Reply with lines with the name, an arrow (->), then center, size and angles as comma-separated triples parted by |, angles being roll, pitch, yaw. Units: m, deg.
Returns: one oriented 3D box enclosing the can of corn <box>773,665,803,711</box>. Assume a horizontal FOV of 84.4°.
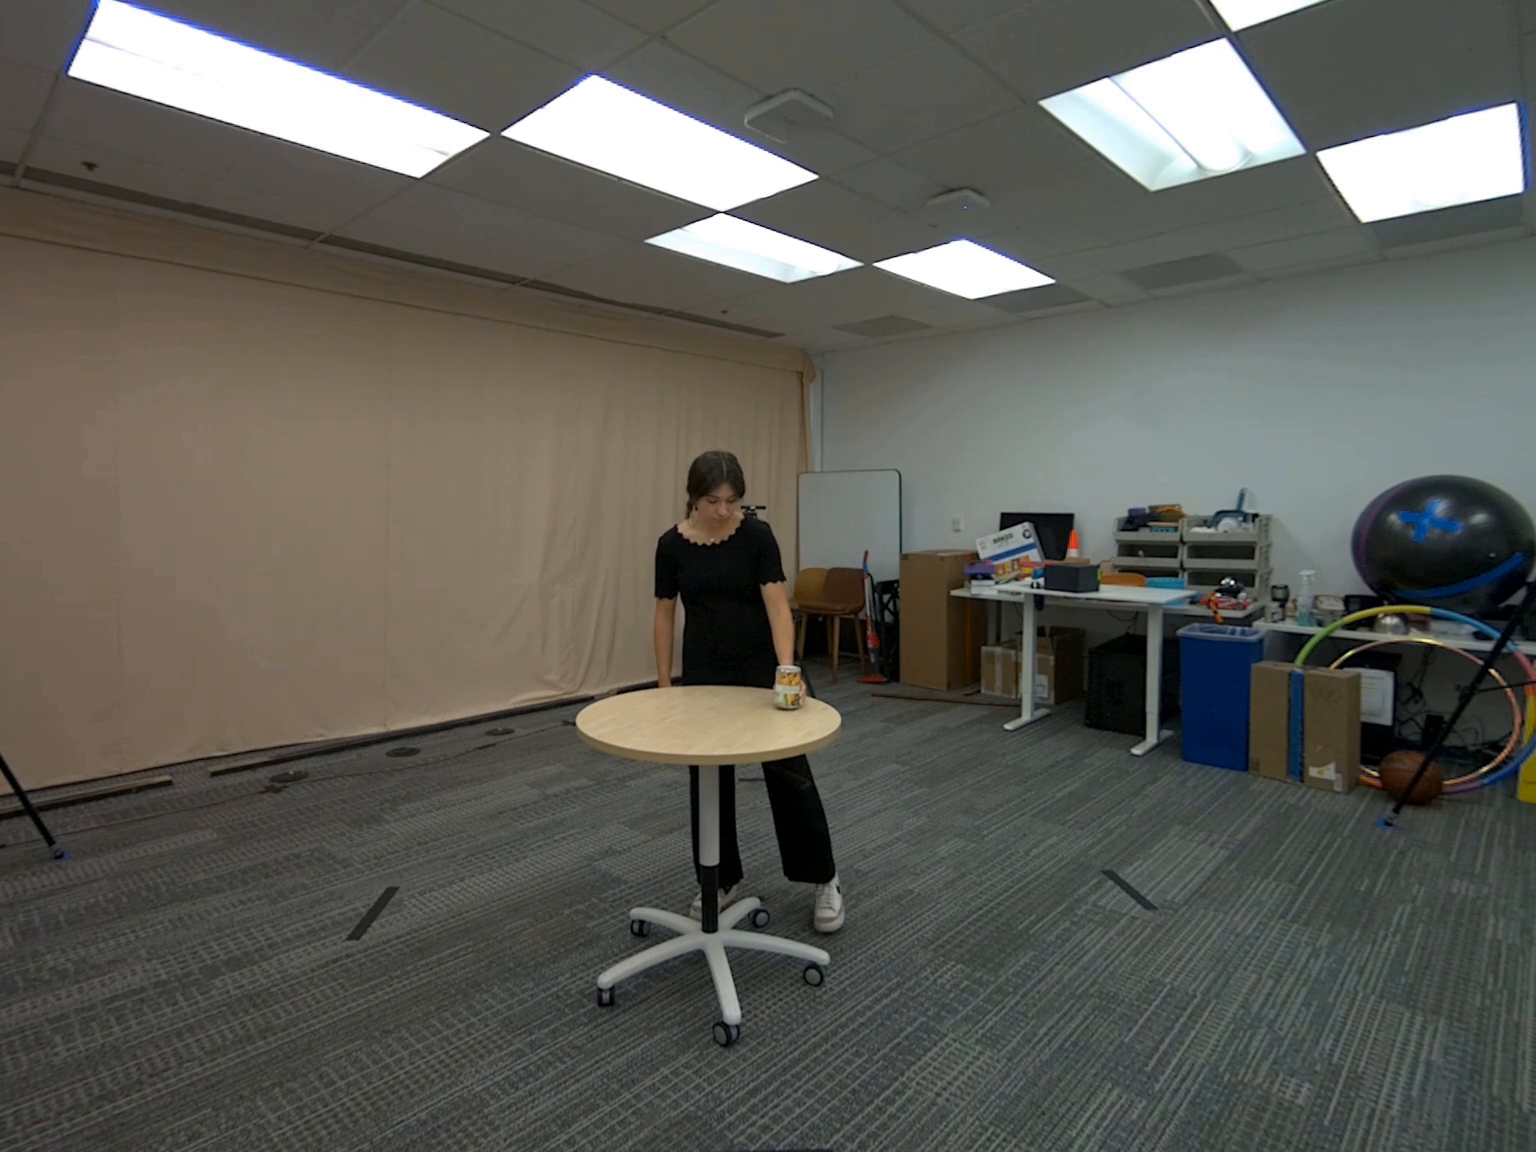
can of corn -> 0.056, 0.330, 2.525 | 0.074, 0.111, 0.074 | 2, 4, -2
